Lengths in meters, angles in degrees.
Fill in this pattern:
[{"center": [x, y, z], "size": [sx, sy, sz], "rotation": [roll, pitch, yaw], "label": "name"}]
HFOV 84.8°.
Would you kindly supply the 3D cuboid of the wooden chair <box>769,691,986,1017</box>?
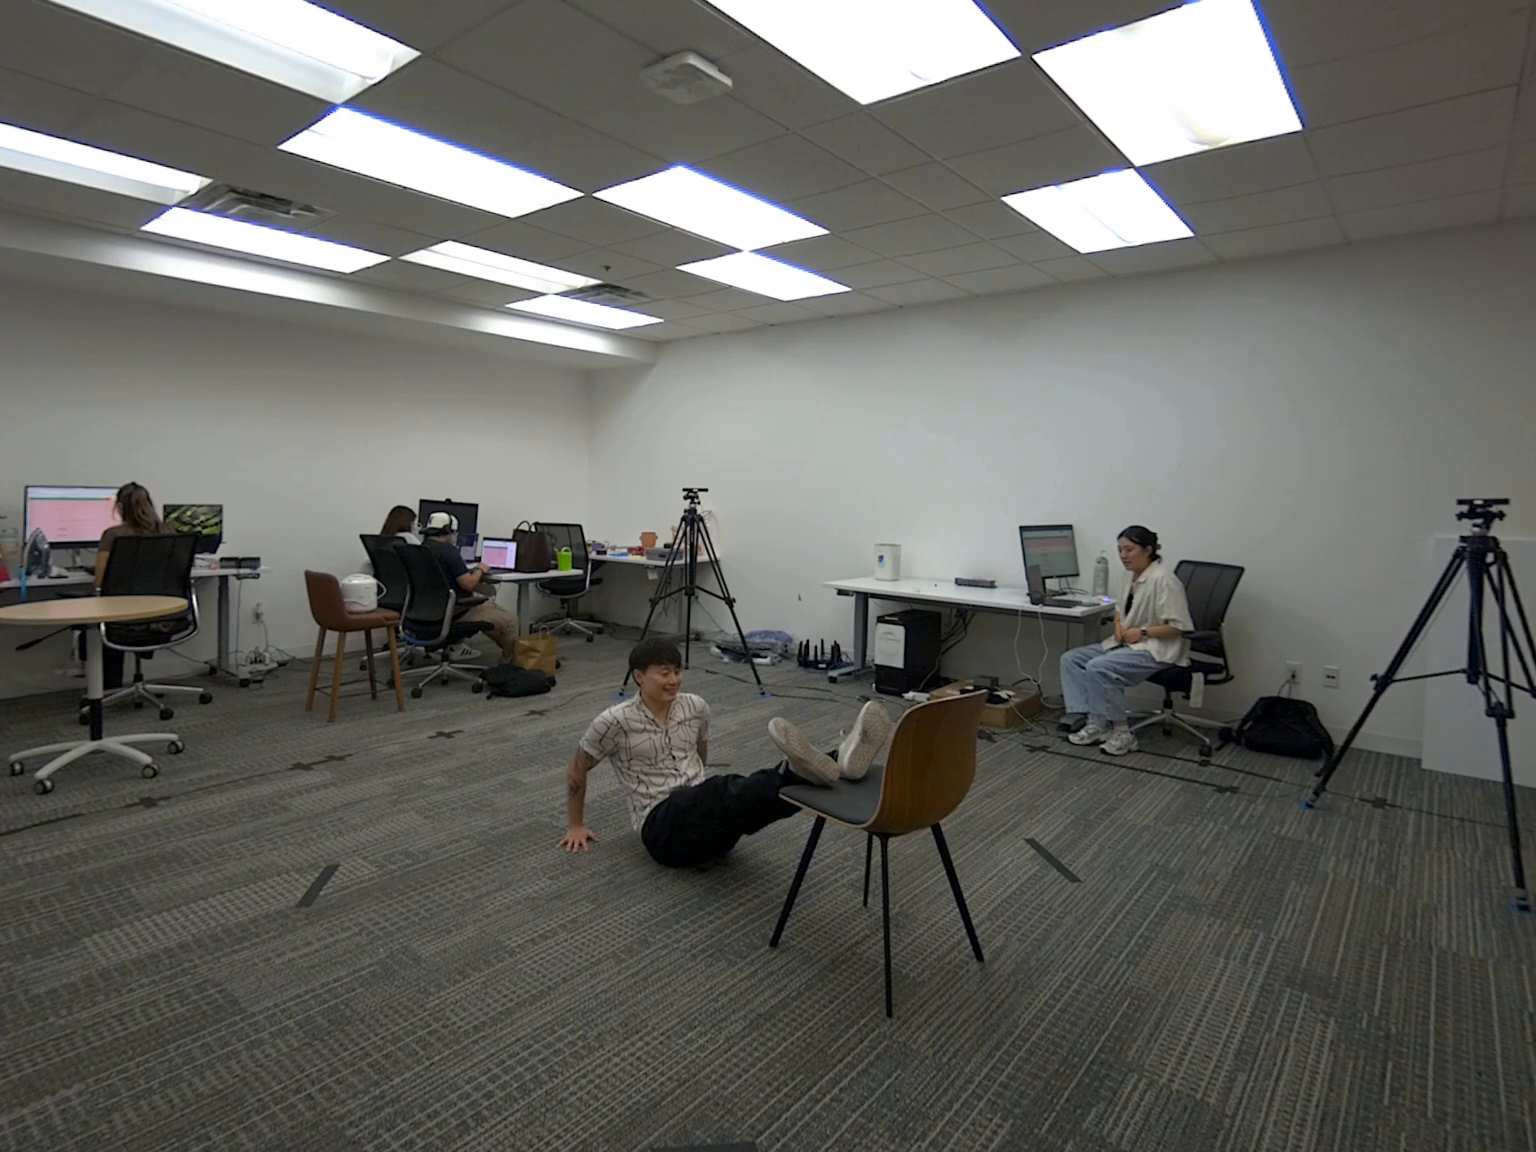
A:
[{"center": [0.324, 0.707, 2.545], "size": [0.463, 0.872, 0.542], "rotation": [-2, 9, -43], "label": "wooden chair"}]
